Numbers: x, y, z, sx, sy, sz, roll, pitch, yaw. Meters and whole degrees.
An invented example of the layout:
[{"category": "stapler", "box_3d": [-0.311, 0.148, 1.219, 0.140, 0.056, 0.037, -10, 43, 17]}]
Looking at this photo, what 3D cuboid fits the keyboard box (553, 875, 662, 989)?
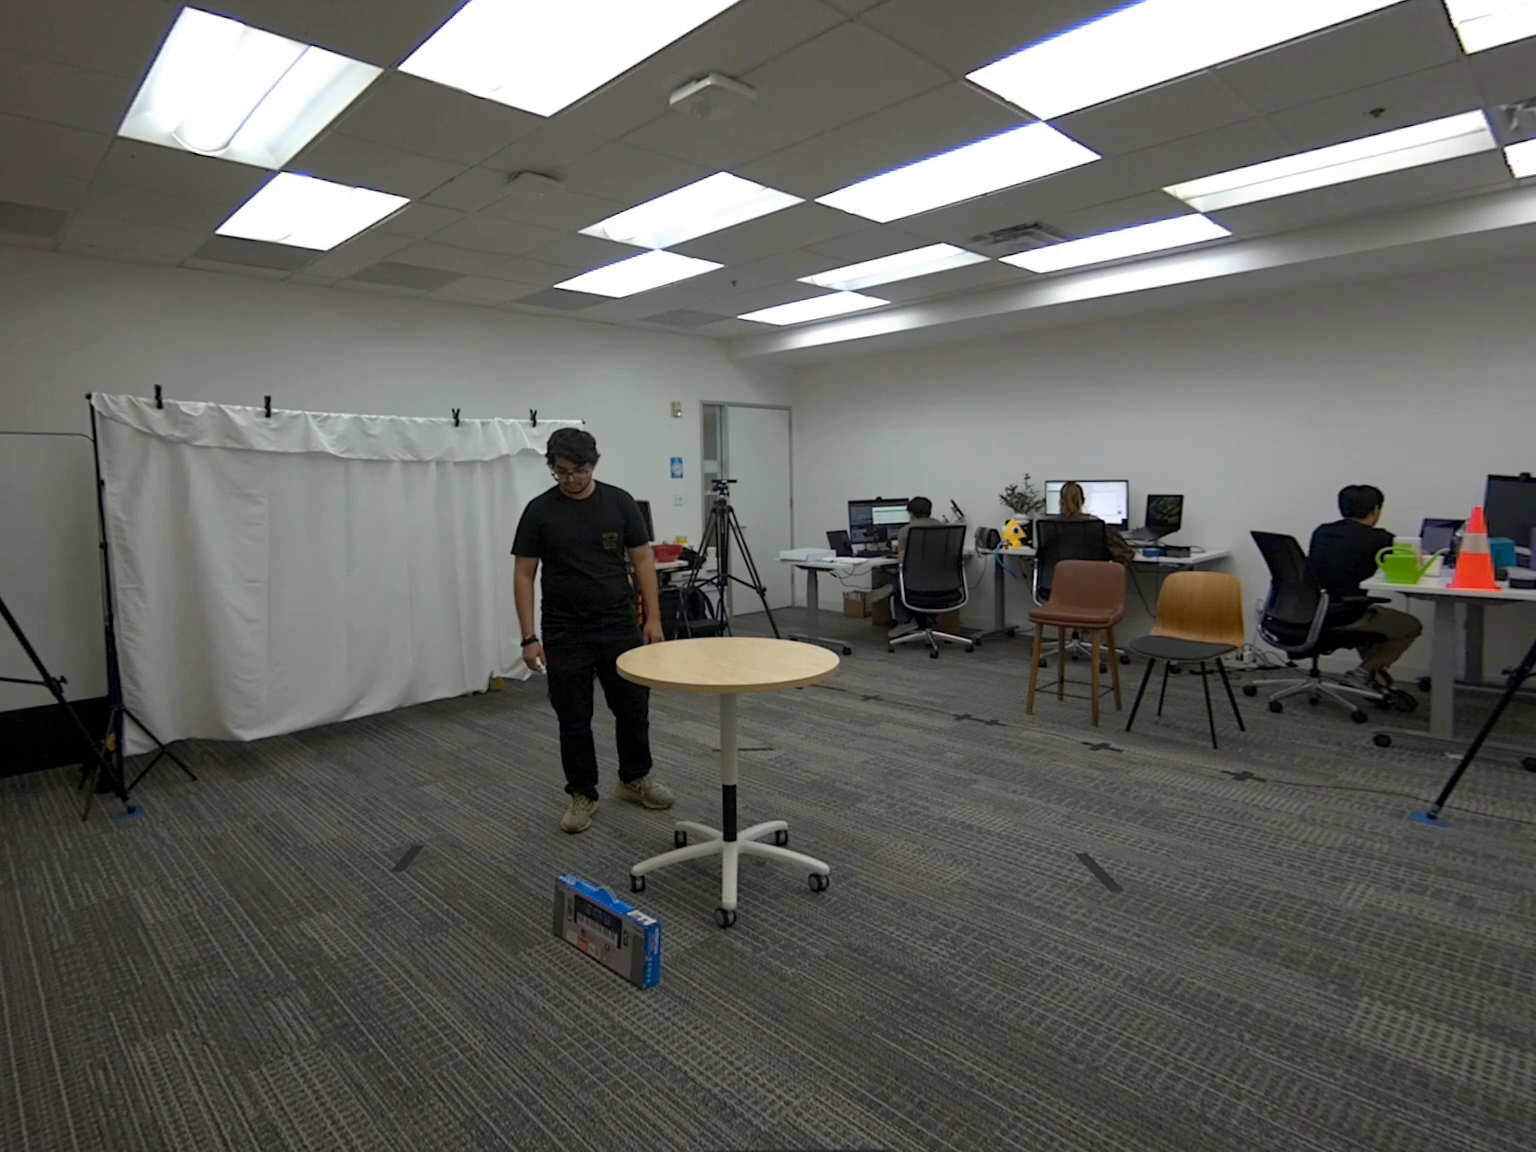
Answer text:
[{"category": "keyboard box", "box_3d": [-0.482, 1.042, 2.516, 0.450, 0.176, 0.057, 5, 1, 42]}]
